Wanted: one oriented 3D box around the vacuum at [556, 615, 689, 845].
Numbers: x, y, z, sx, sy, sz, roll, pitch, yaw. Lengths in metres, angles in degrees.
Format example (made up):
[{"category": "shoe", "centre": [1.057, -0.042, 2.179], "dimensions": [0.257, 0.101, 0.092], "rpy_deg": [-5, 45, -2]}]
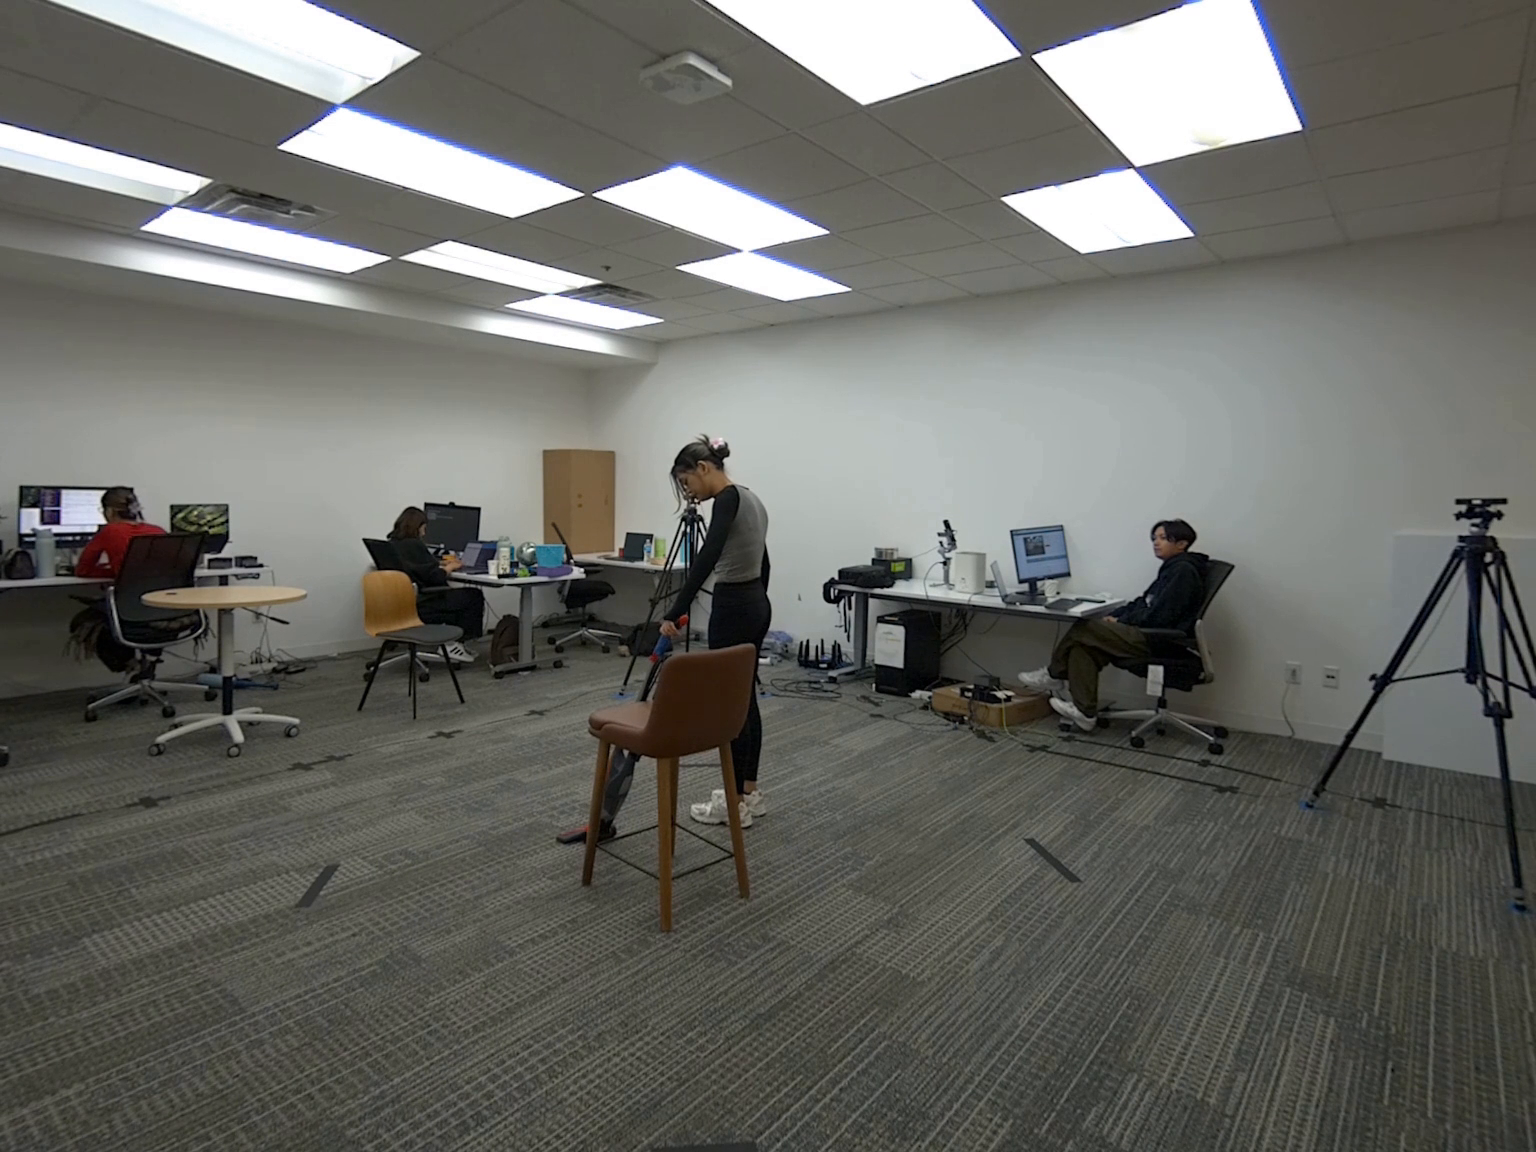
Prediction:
[{"category": "vacuum", "centre": [-0.529, 0.592, 3.193], "dimensions": [0.149, 1.039, 0.246], "rpy_deg": [36, 24, 27]}]
